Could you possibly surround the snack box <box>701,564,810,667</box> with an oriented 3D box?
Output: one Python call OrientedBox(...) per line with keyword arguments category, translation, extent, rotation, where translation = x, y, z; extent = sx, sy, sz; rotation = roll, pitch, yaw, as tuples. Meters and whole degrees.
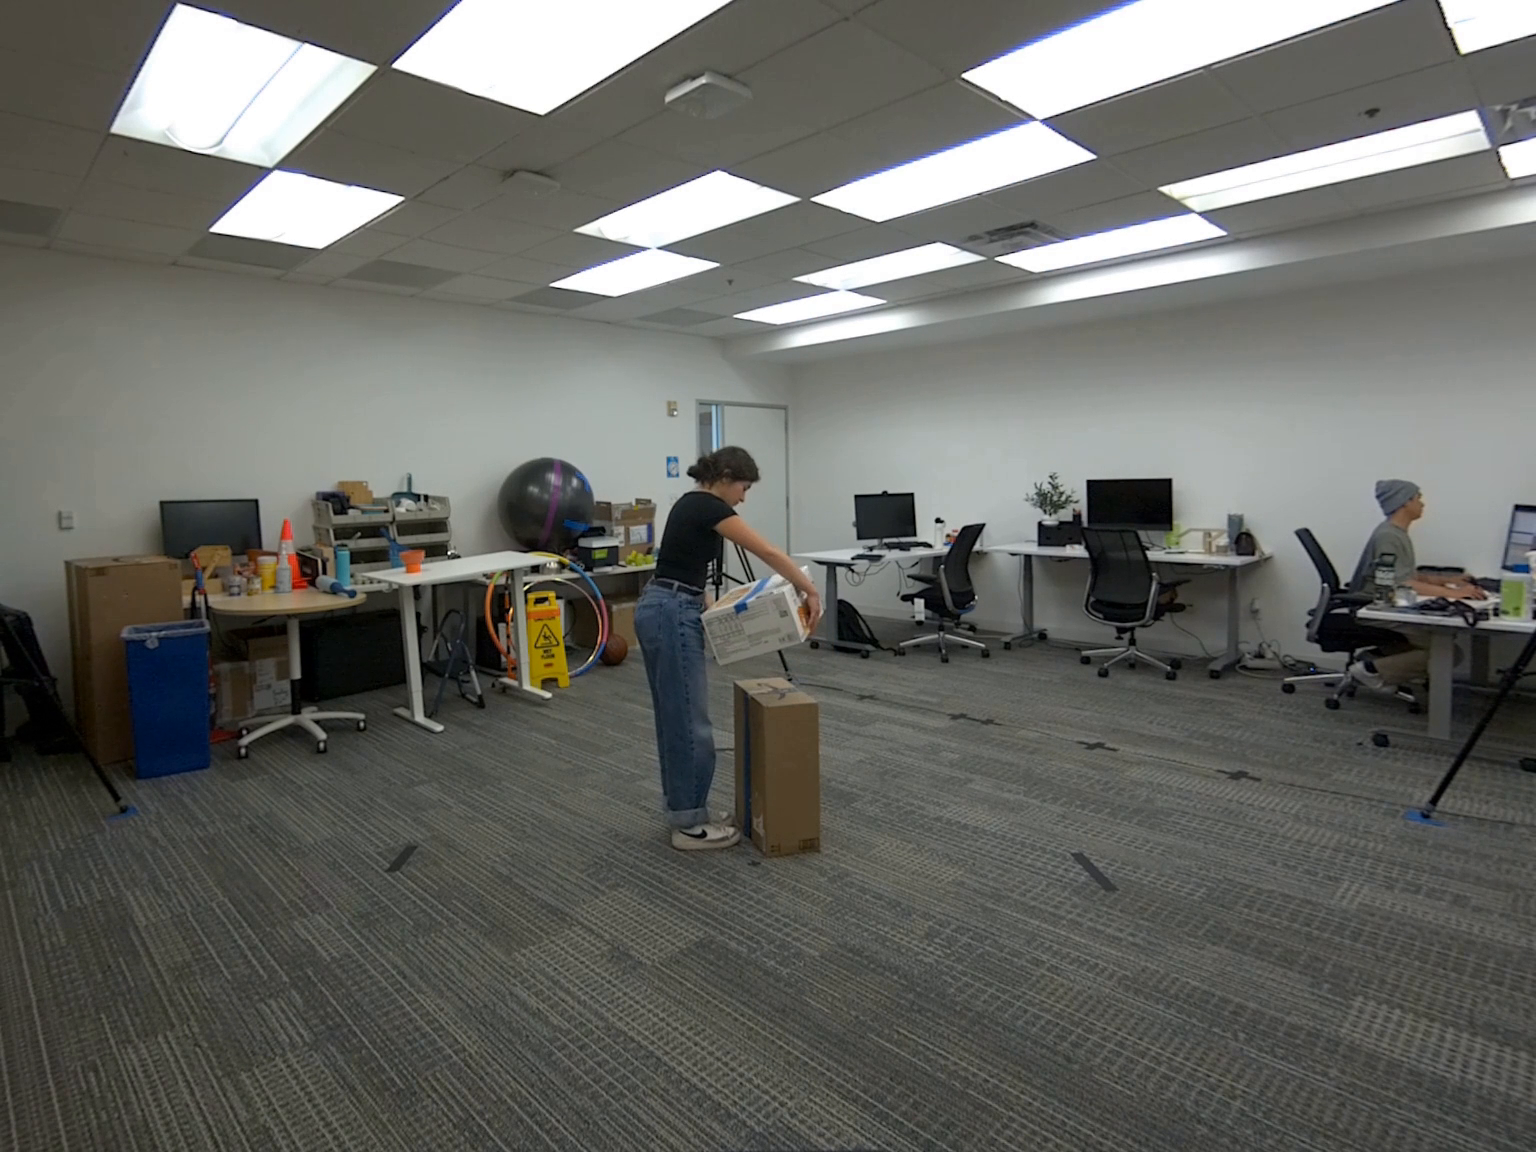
OrientedBox(category="snack box", translation=(-0.016, 0.146, 3.264), extent=(0.344, 0.204, 0.403), rotation=(-18, 8, 19))
